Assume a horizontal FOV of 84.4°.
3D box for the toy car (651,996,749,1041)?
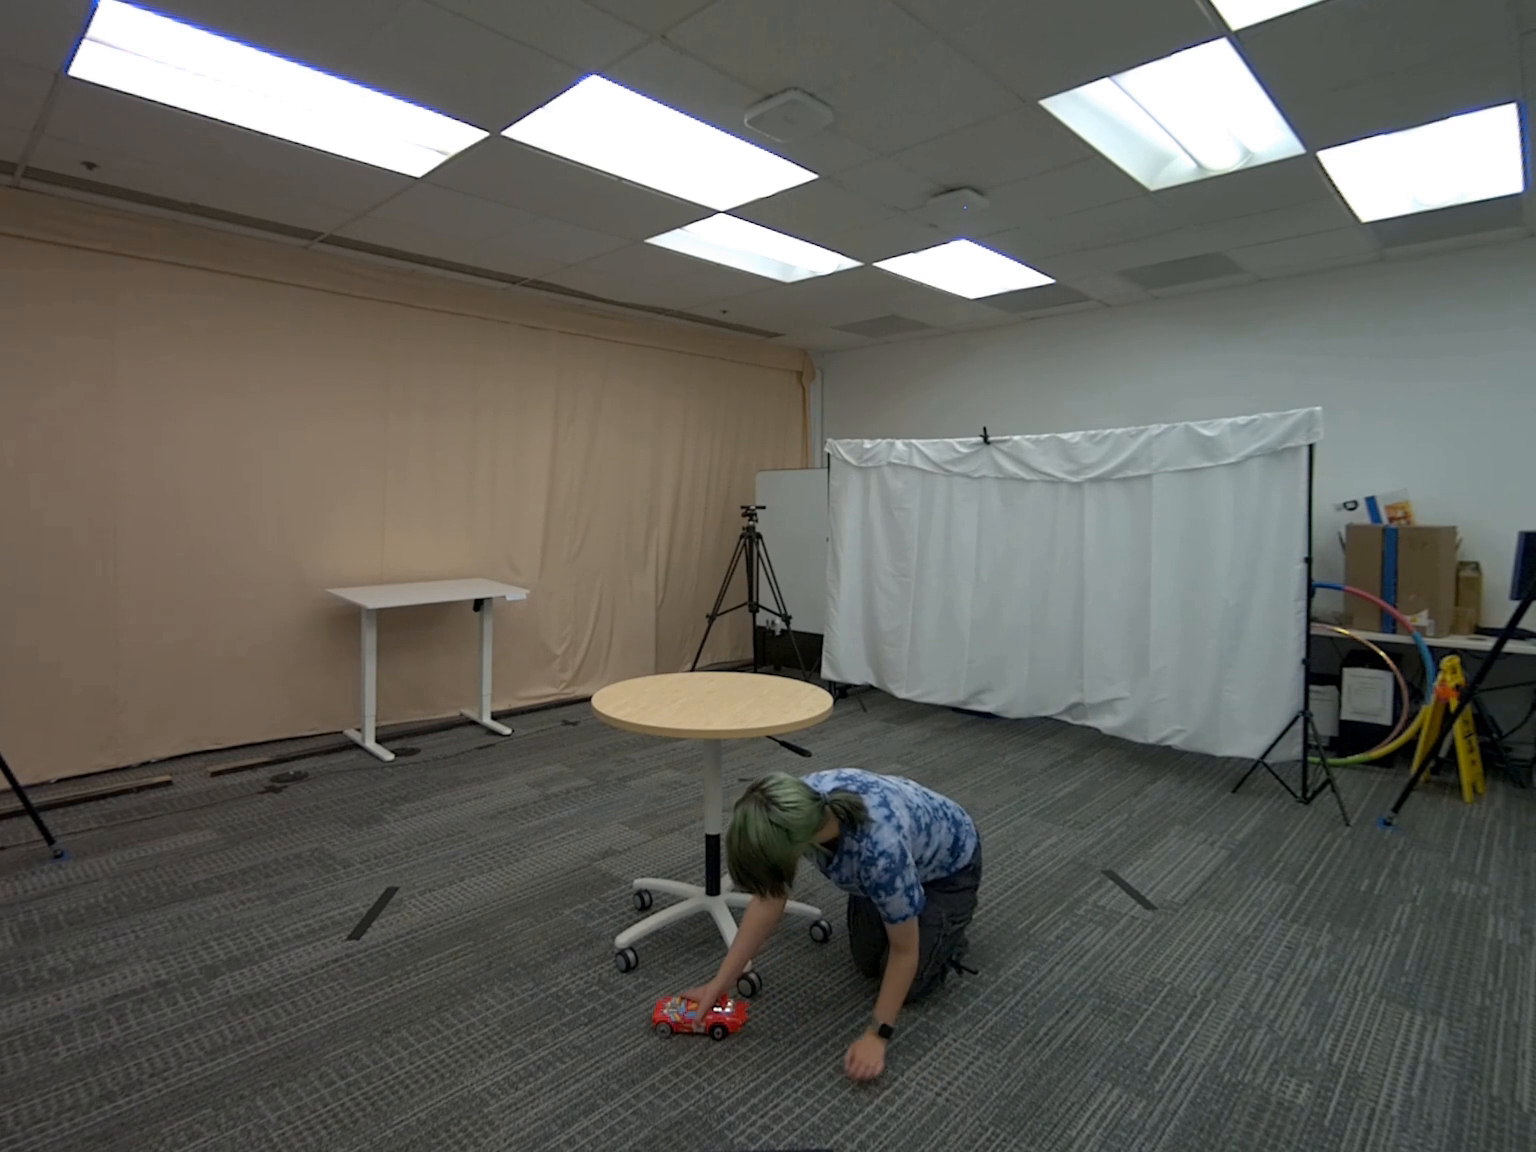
[{"bbox_3d":[-0.179,1.186,2.238,0.256,0.083,0.130,-9,3,7],"label":"toy car"}]
